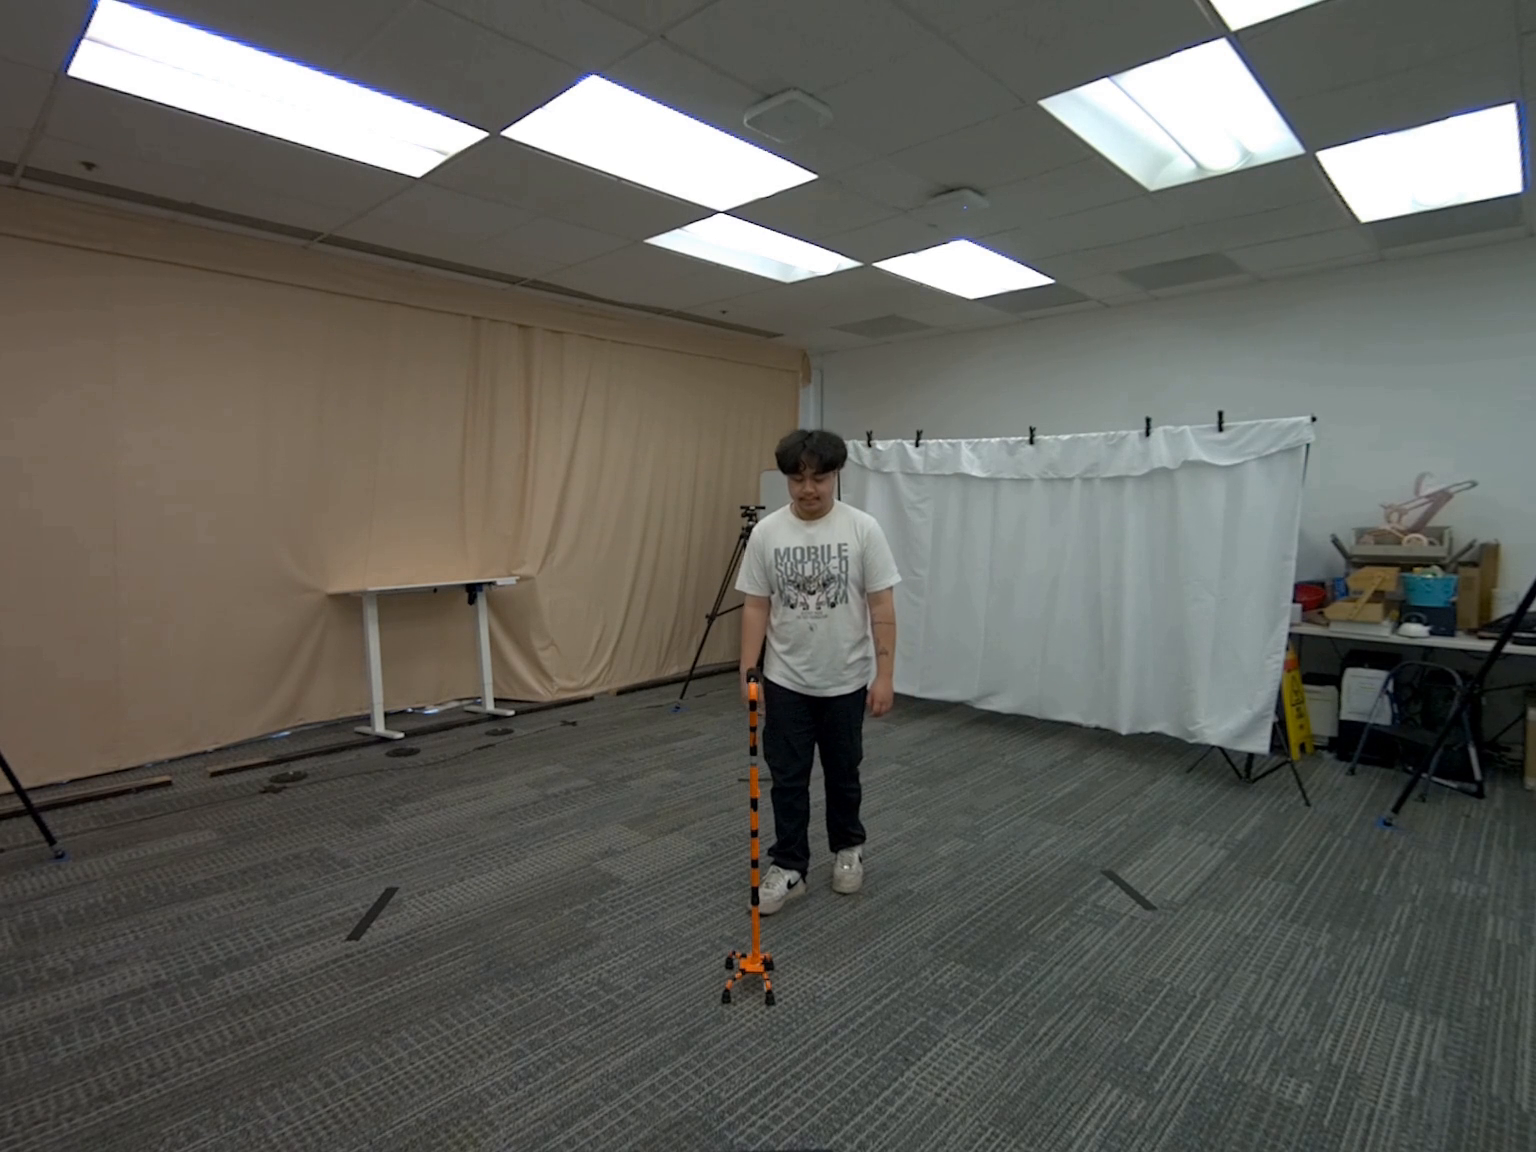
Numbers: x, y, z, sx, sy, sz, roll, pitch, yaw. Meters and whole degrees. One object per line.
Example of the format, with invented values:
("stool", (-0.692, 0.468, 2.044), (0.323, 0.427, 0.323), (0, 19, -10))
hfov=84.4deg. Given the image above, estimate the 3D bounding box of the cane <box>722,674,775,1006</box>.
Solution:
("cane", (-0.048, 0.742, 2.427), (0.152, 0.906, 0.206), (0, 3, 0))
